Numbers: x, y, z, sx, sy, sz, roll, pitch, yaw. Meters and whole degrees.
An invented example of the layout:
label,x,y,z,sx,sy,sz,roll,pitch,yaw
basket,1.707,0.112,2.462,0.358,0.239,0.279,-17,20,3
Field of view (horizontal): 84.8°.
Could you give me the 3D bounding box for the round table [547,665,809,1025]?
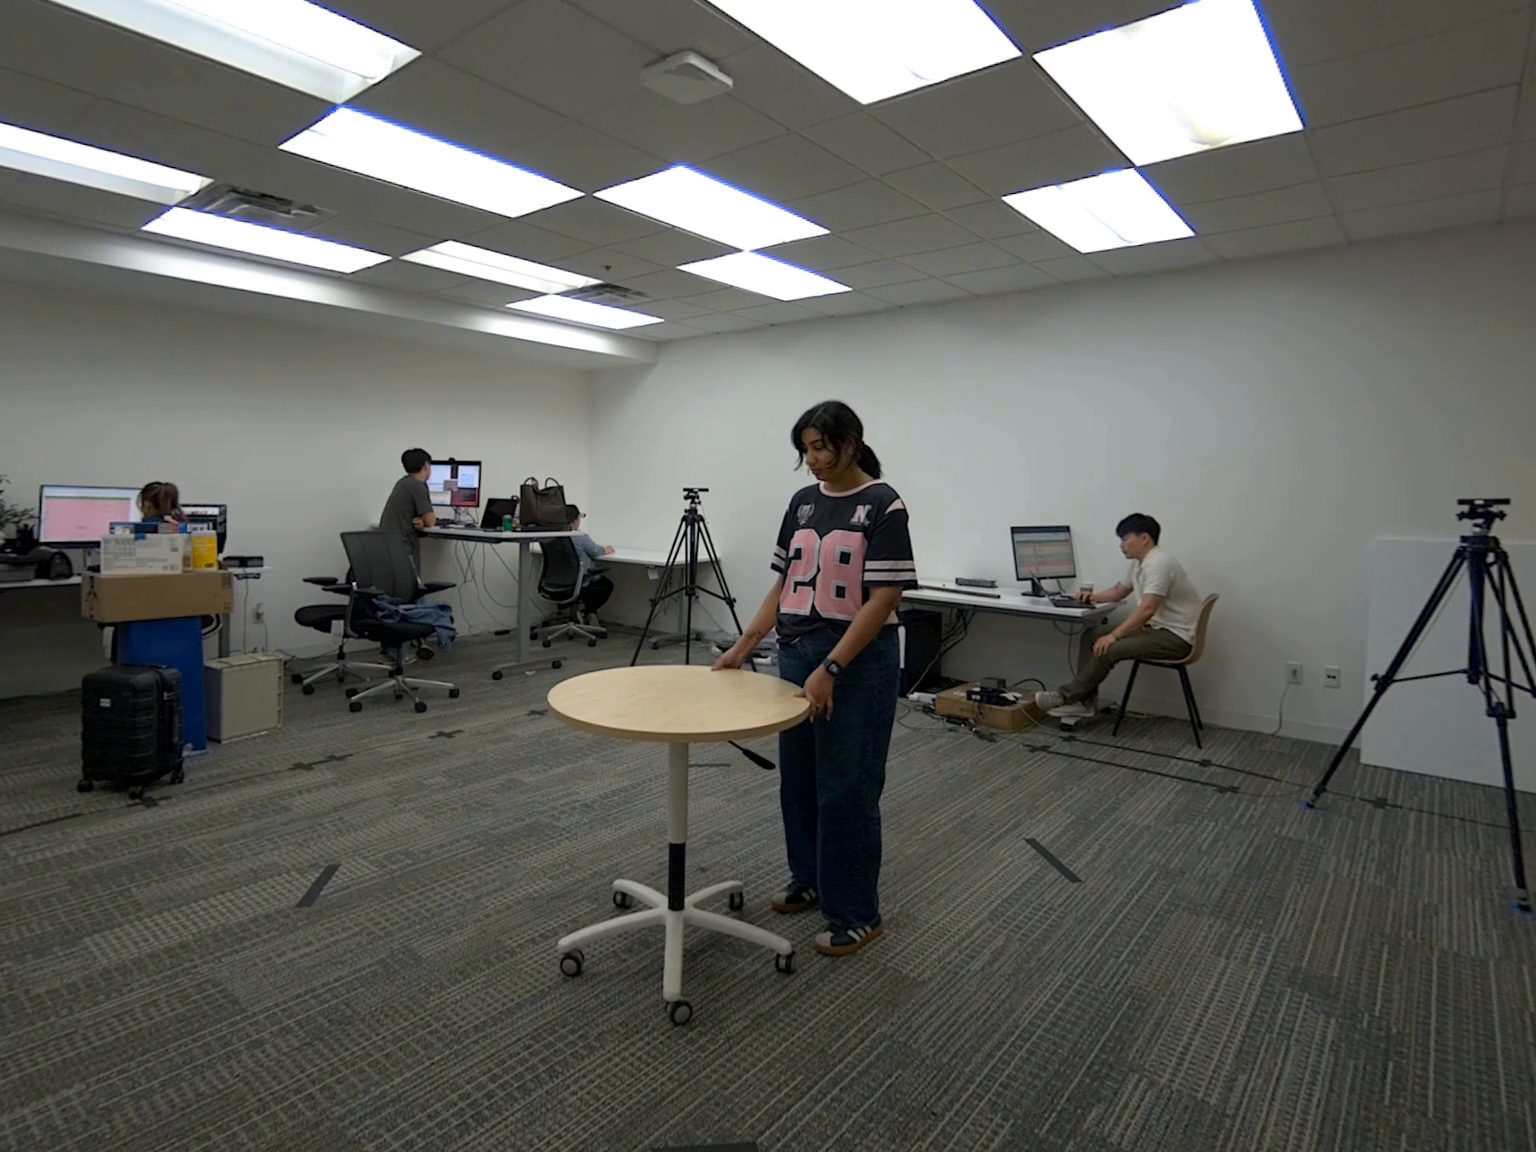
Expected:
label,x,y,z,sx,sy,sz,roll,pitch,yaw
round table,-0.284,0.737,2.526,0.763,0.791,0.768,1,5,-2
